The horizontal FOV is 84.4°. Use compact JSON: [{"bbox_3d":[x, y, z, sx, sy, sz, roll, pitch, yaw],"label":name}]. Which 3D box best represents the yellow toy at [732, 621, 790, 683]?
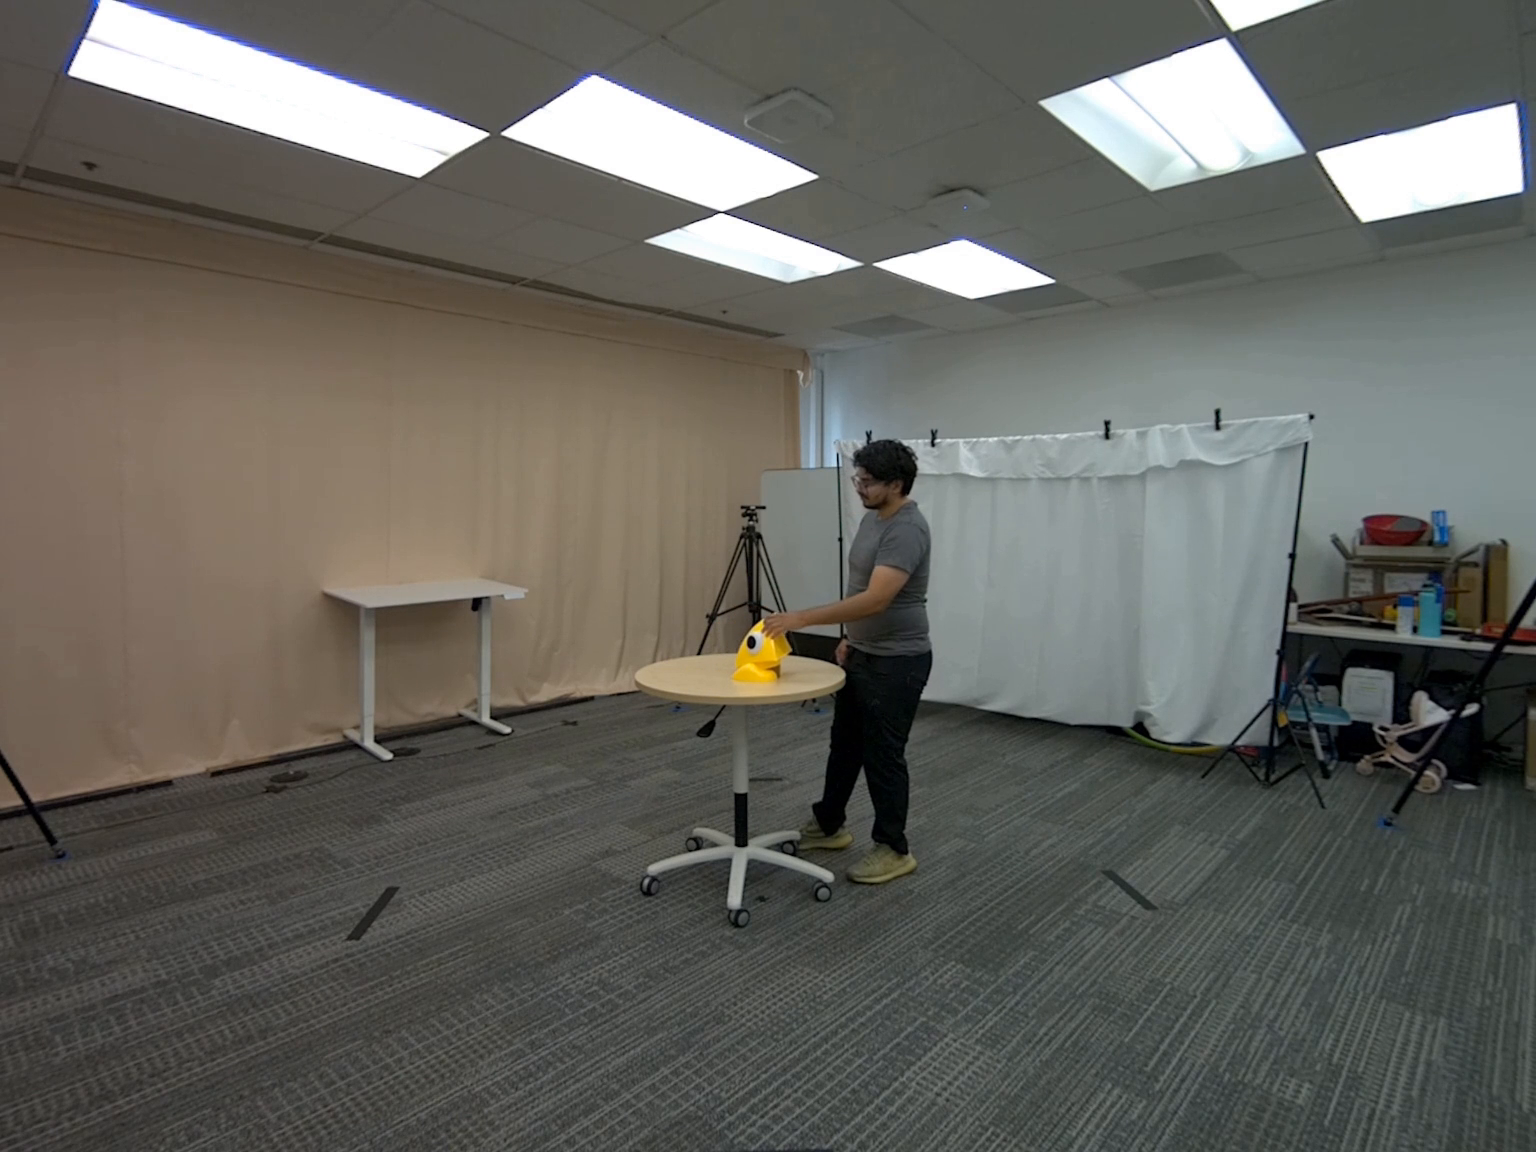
[{"bbox_3d":[-0.033,0.247,3.007,0.196,0.230,0.201,0,3,16],"label":"yellow toy"}]
